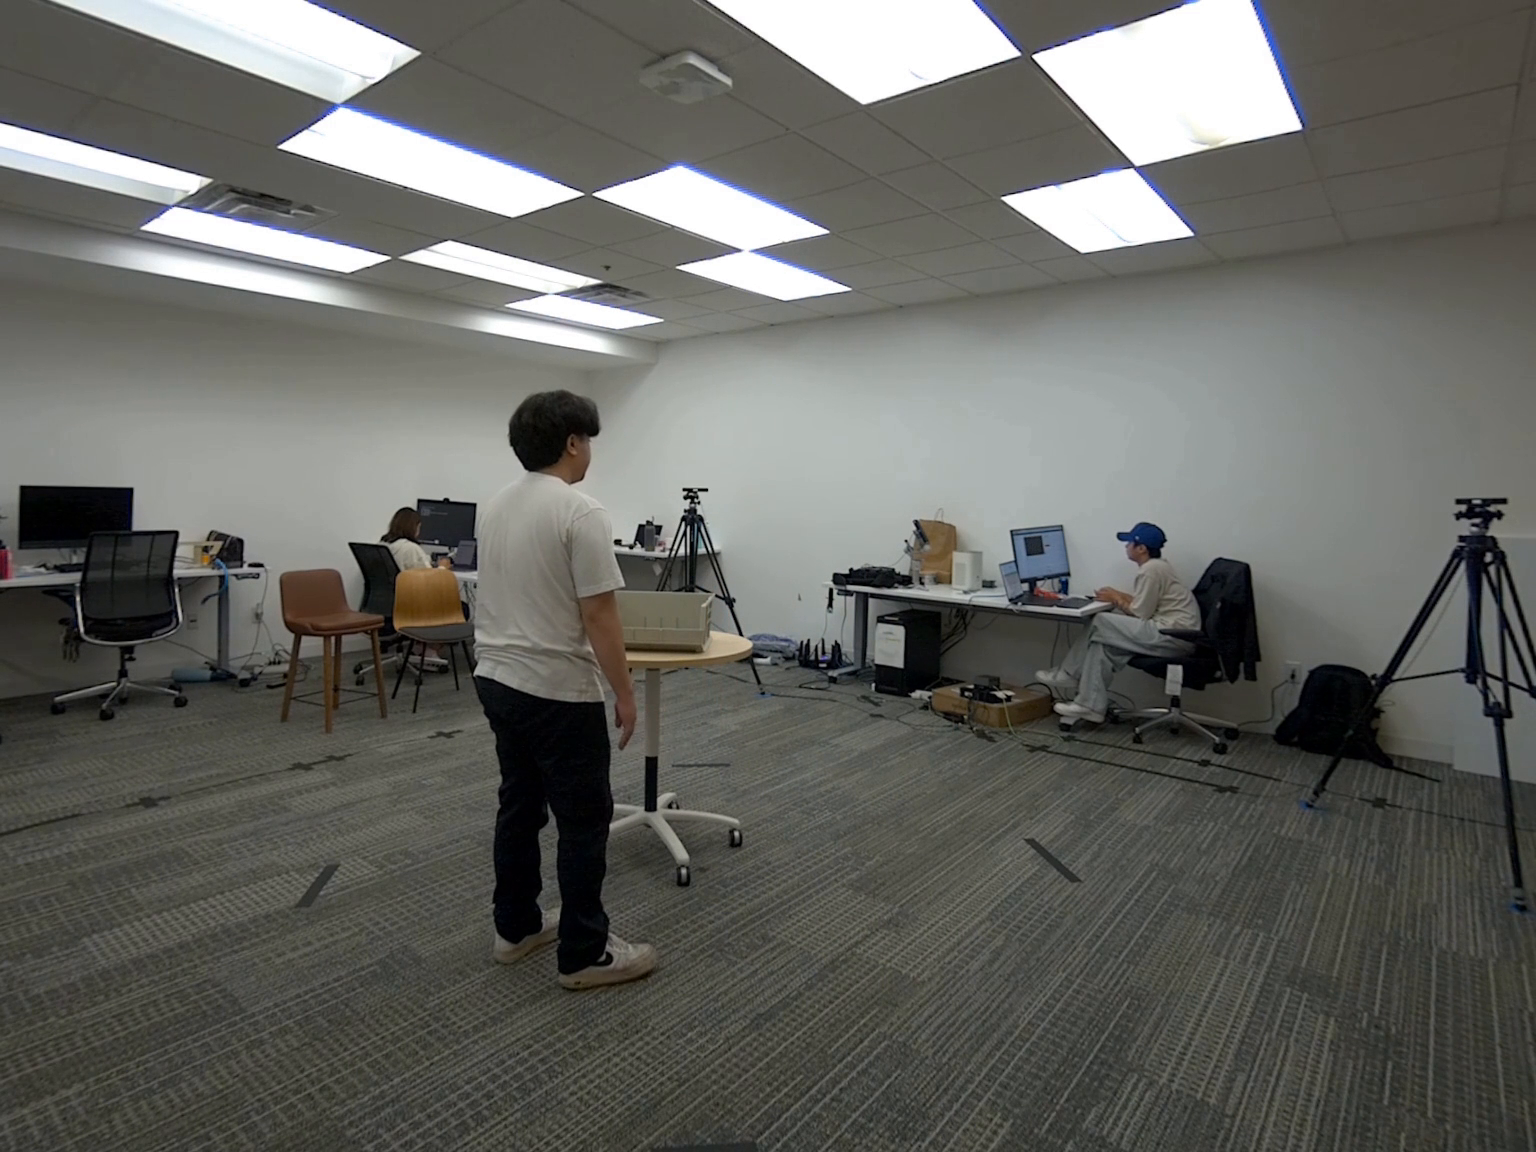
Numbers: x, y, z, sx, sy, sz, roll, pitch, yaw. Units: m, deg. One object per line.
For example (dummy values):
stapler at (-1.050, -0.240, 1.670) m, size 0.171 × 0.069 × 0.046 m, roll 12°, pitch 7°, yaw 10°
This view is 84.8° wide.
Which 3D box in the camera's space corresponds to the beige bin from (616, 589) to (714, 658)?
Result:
beige bin at (-0.435, 0.169, 3.202) m, size 0.423 × 0.188 × 0.377 m, roll 3°, pitch 4°, yaw 2°
